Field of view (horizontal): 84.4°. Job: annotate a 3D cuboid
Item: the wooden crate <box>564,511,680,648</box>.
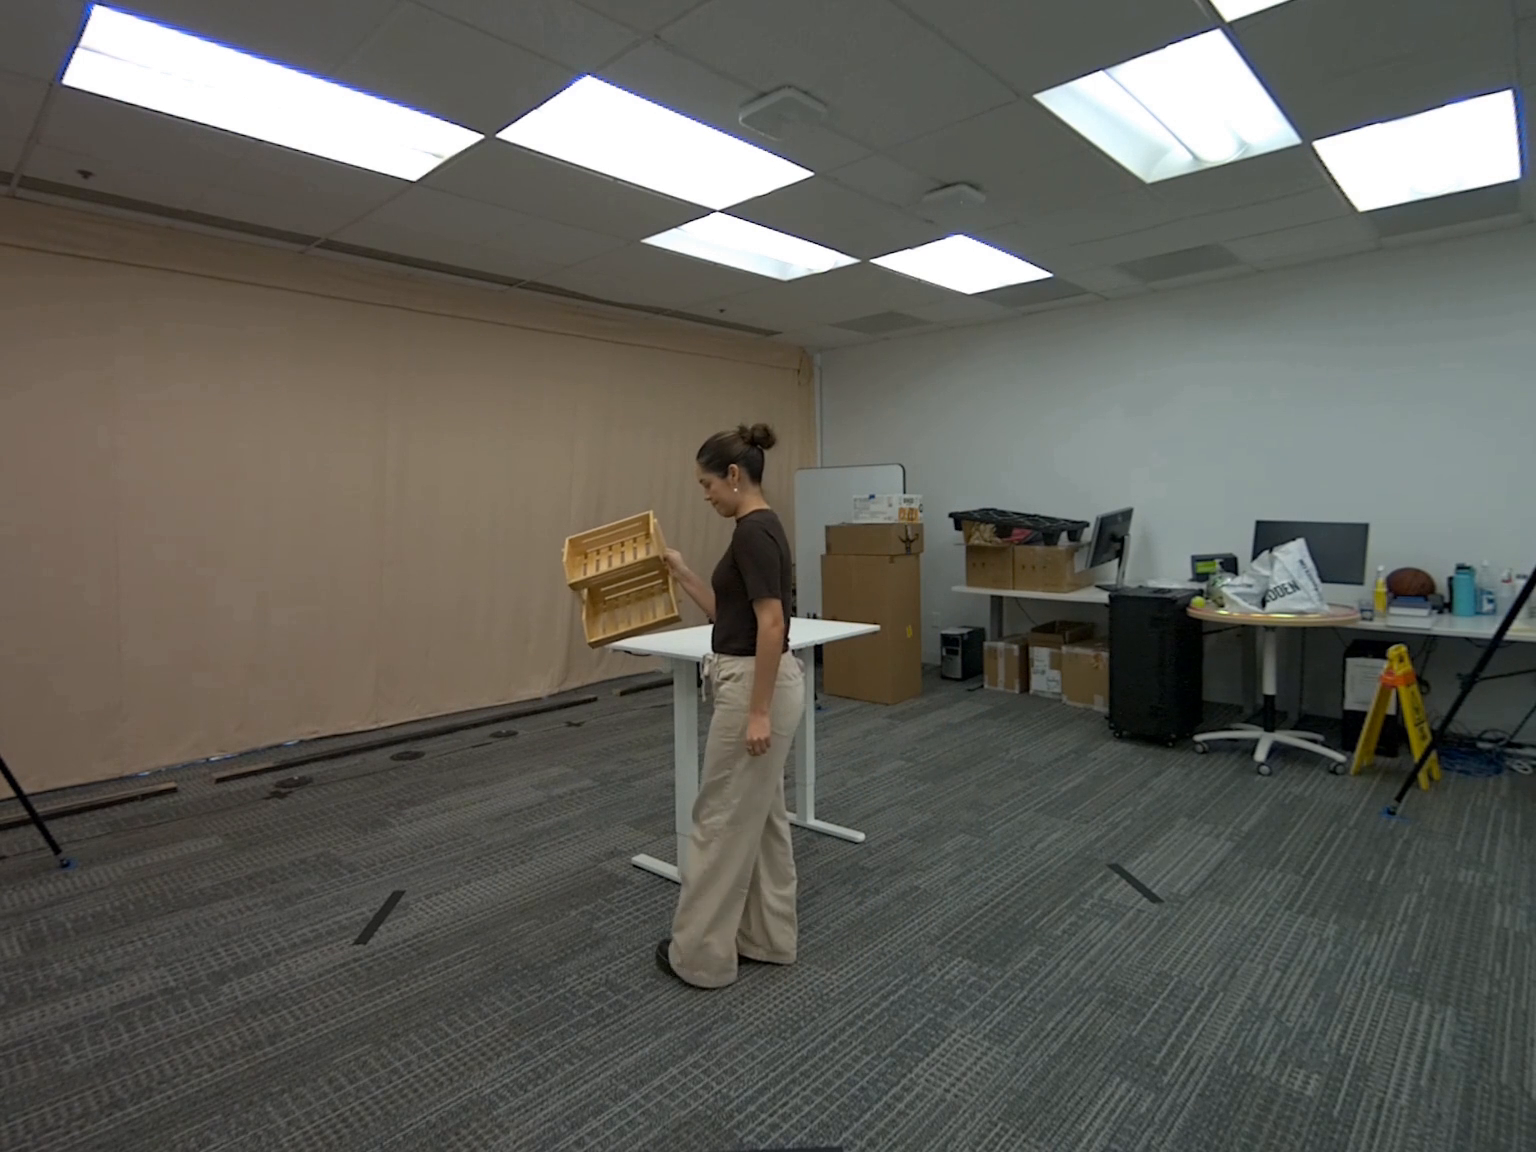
[{"bbox_3d":[-0.462,0.010,2.678,0.325,0.266,0.309,-17,33,3],"label":"wooden crate"}]
